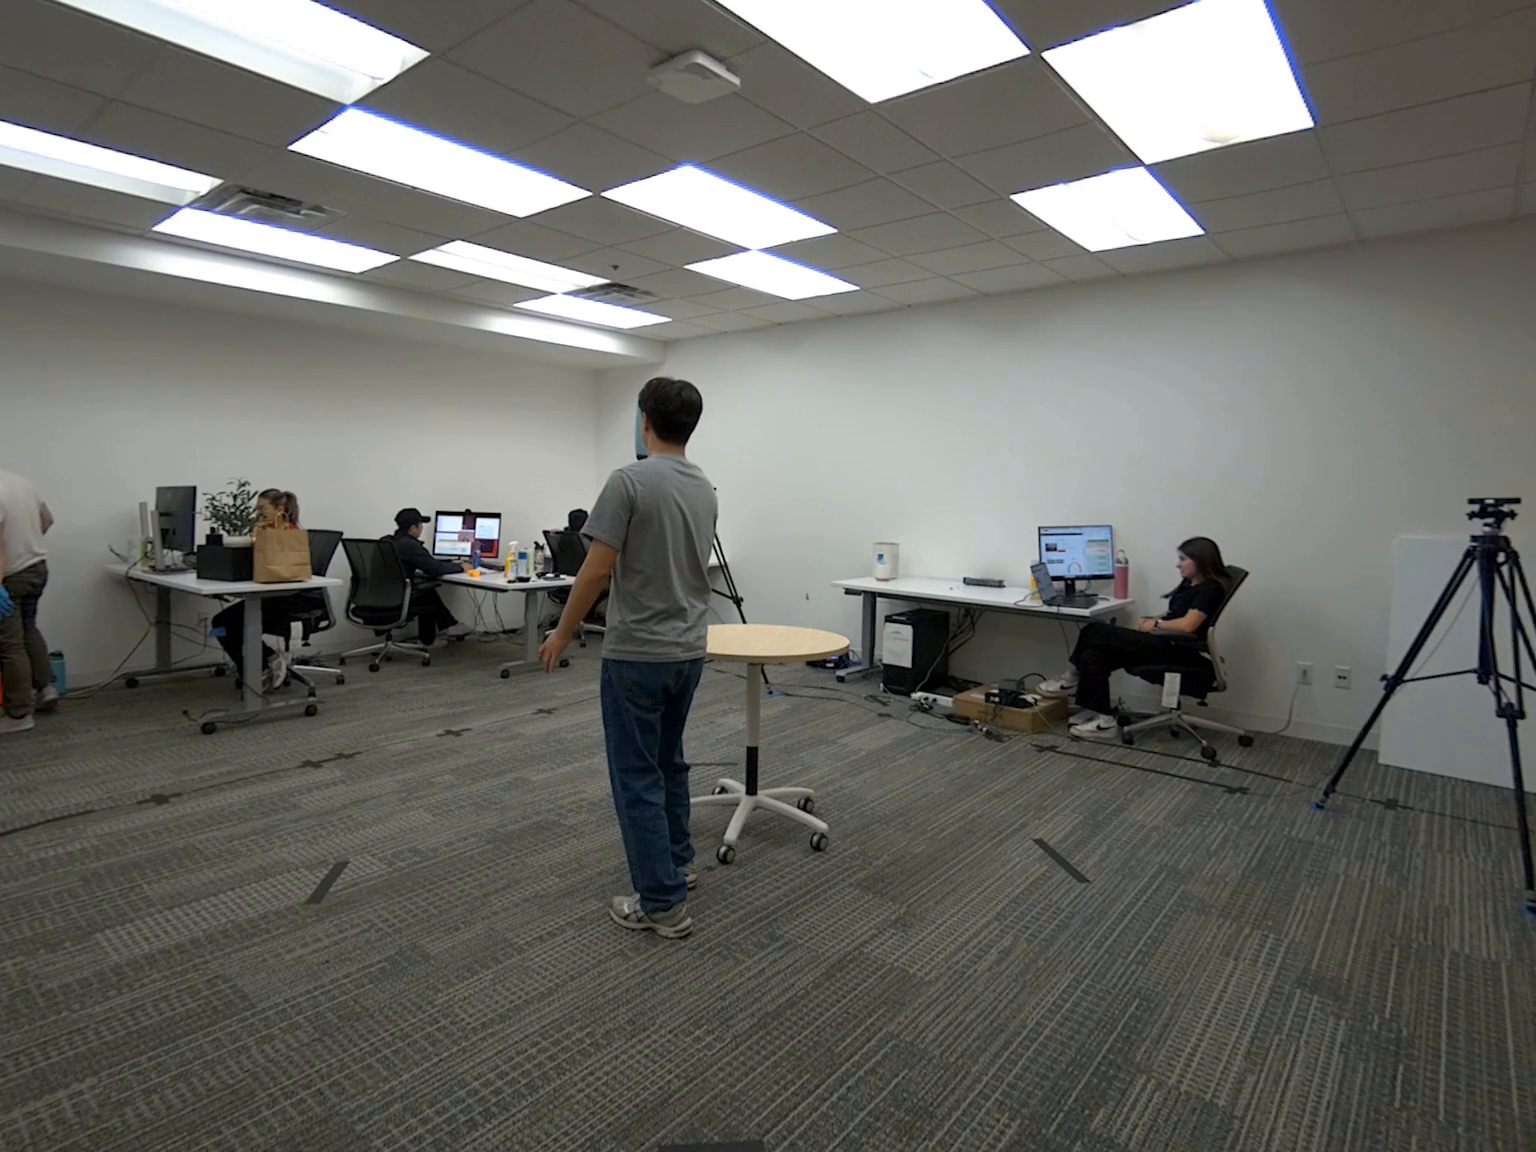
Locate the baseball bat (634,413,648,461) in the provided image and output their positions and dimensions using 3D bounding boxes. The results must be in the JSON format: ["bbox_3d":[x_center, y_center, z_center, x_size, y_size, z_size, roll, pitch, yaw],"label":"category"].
[{"bbox_3d":[-0.483,-0.448,3.278,0.089,0.541,0.089,4,4,-2],"label":"baseball bat"}]
